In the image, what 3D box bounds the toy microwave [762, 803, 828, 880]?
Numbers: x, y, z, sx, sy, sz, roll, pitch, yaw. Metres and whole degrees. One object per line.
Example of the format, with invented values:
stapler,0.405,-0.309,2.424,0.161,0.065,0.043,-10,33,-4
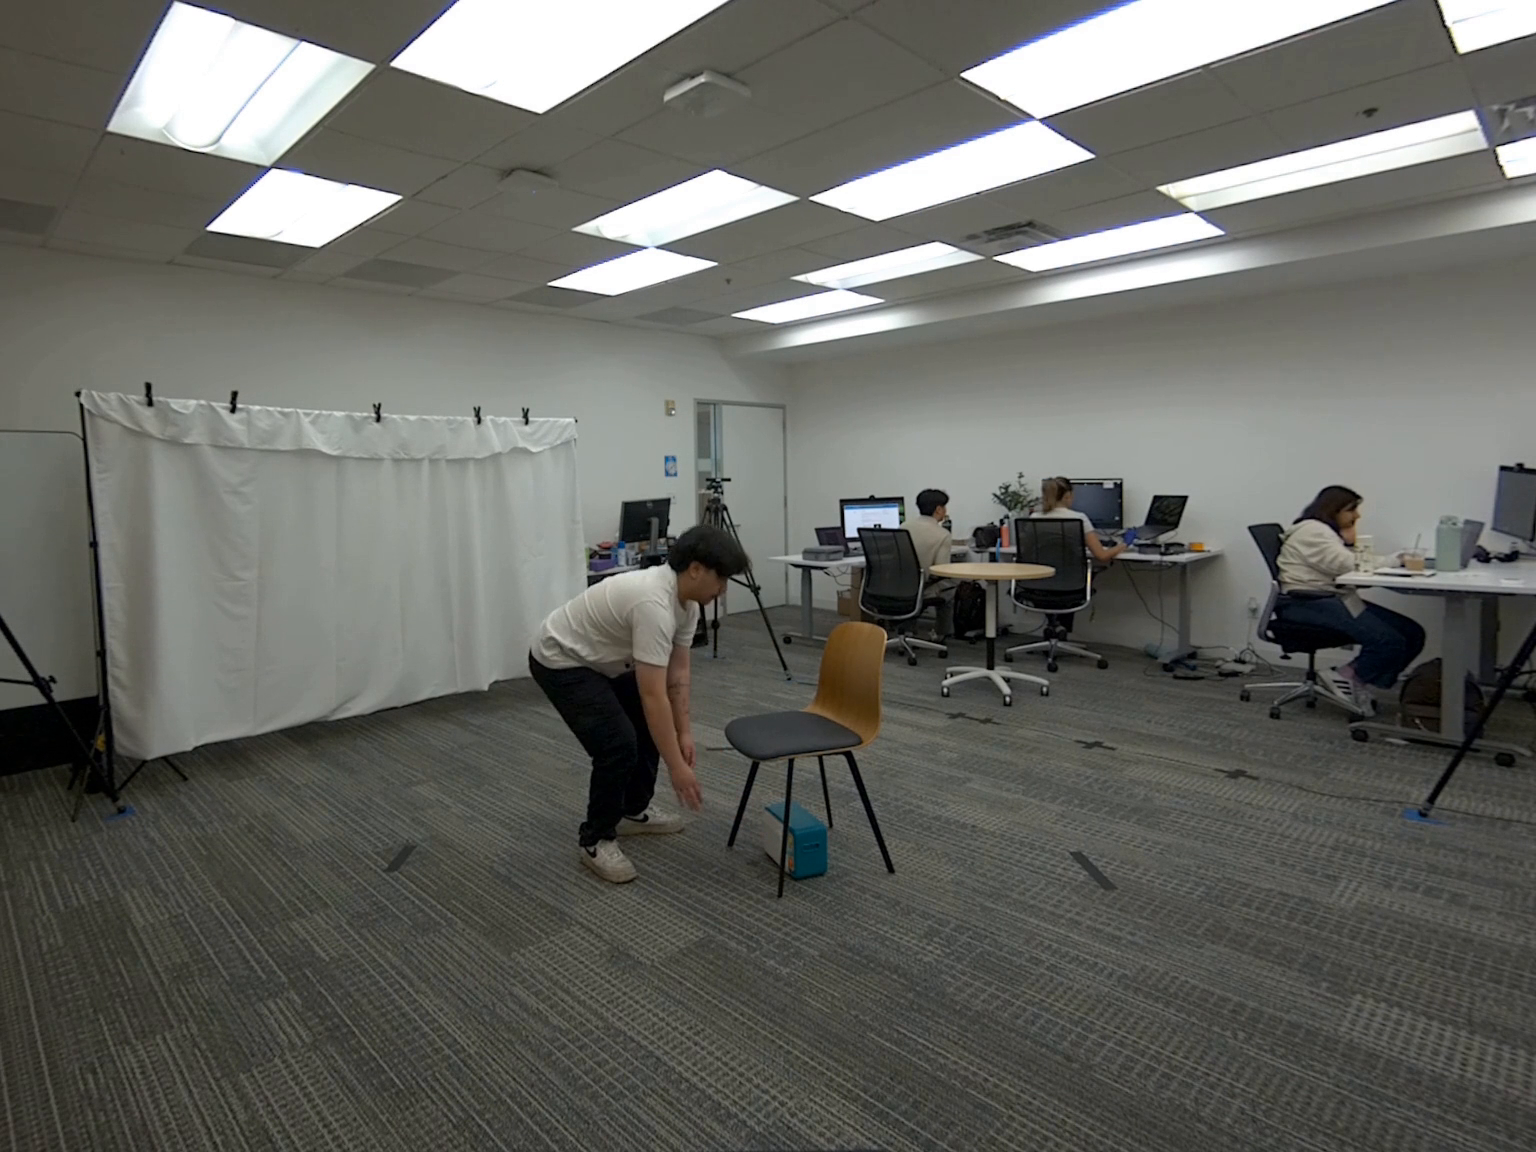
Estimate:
toy microwave,0.086,0.946,3.083,0.149,0.183,0.293,-3,6,-23
